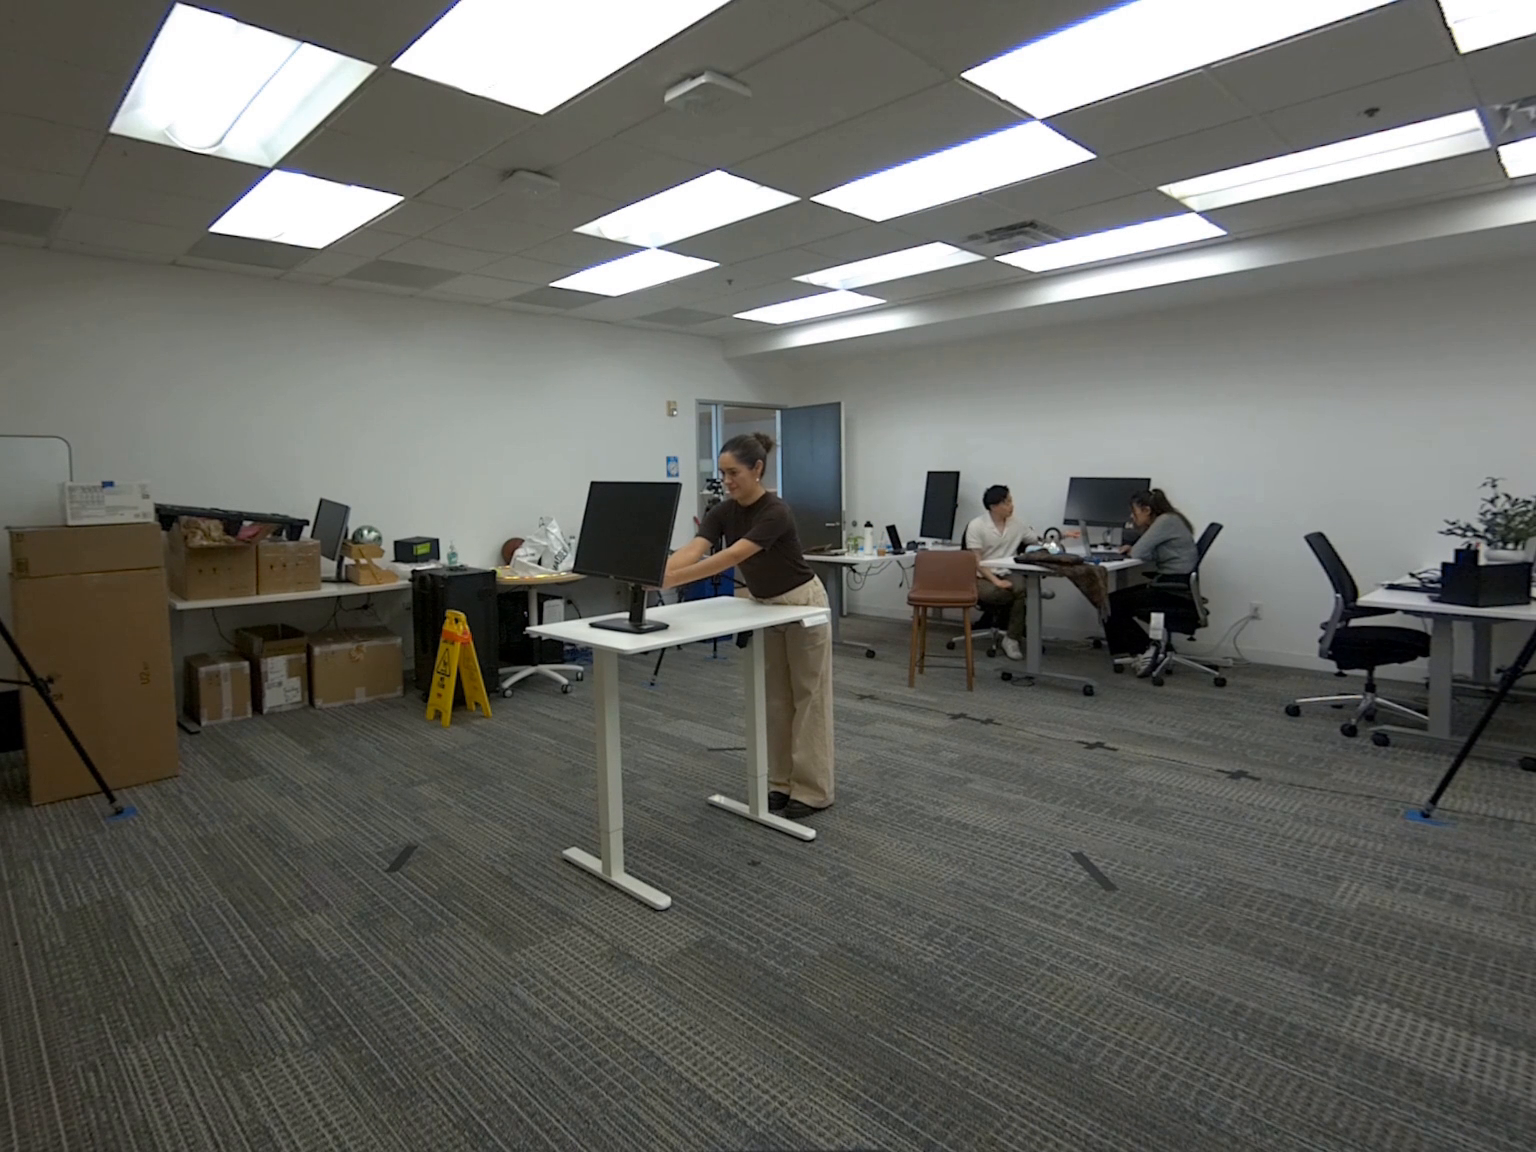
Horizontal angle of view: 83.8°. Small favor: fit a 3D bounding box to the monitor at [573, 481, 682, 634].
[{"bbox_3d":[-0.483,-0.069,3.010,0.182,0.521,0.556,-1,5,-45],"label":"monitor"}]
